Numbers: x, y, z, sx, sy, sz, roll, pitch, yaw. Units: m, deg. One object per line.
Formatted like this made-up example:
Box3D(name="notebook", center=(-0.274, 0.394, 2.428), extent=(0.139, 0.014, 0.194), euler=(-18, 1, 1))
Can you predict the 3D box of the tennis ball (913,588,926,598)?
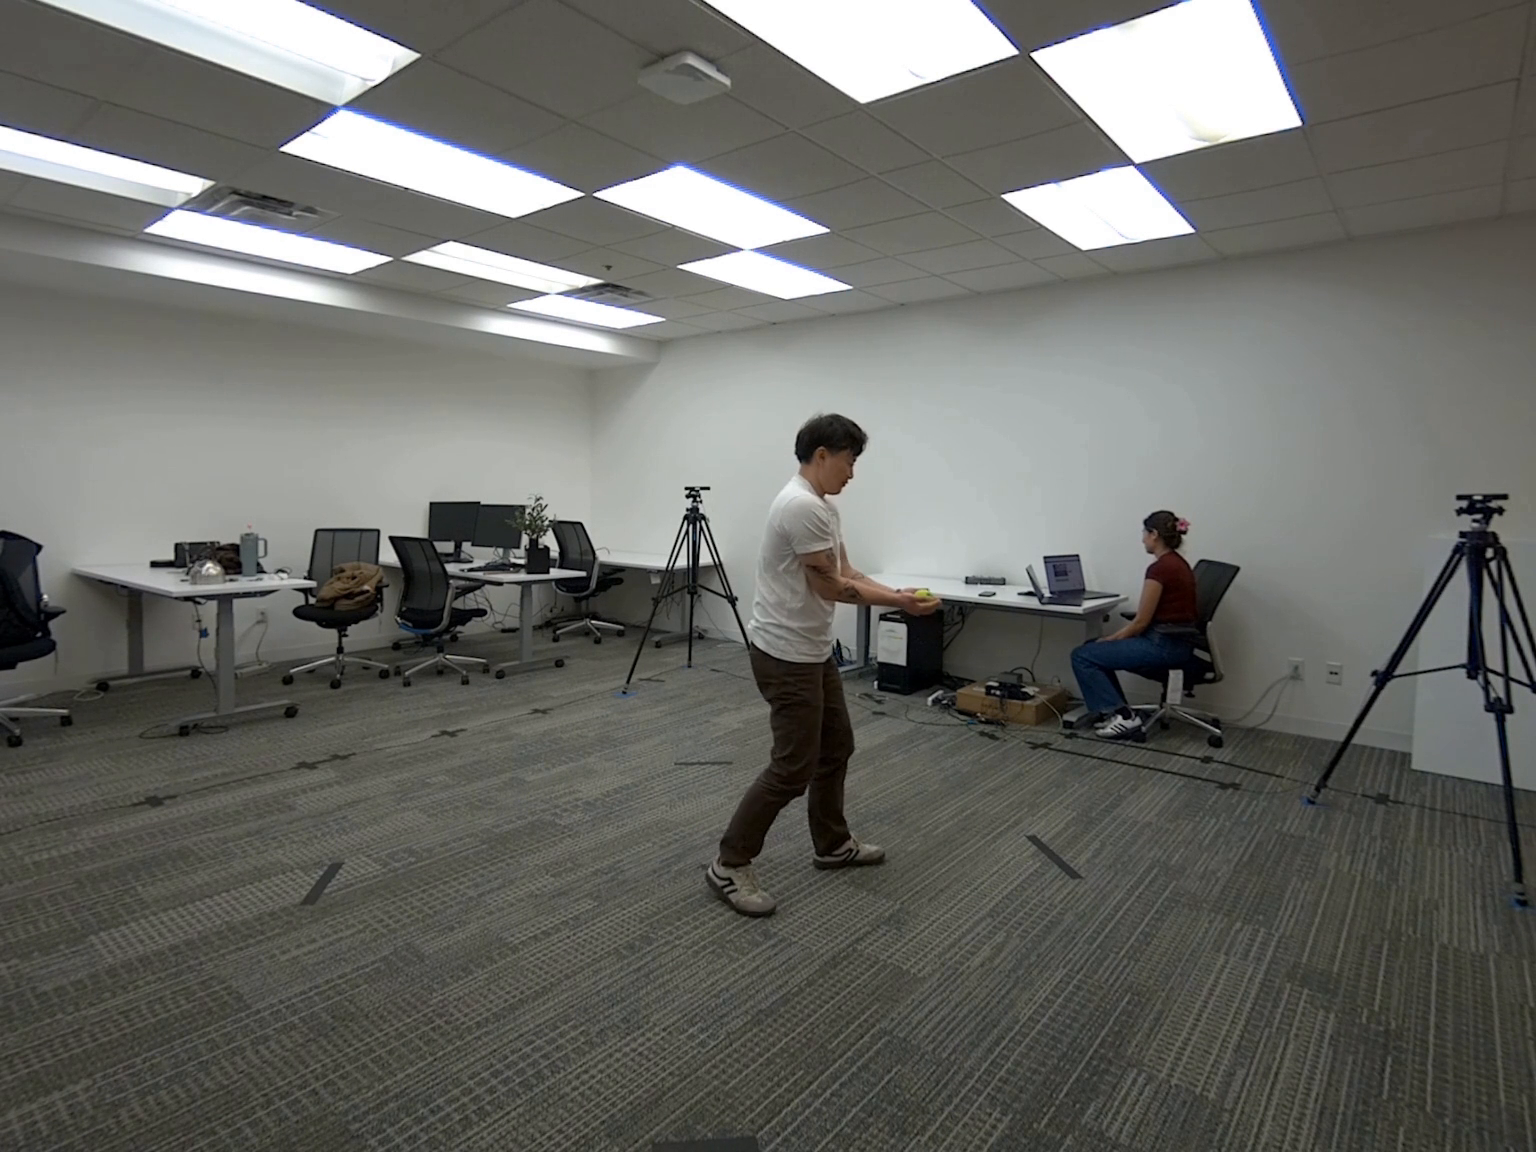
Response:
Box3D(name="tennis ball", center=(0.474, 0.065, 2.901), extent=(0.066, 0.066, 0.067), euler=(1, 4, -2))
